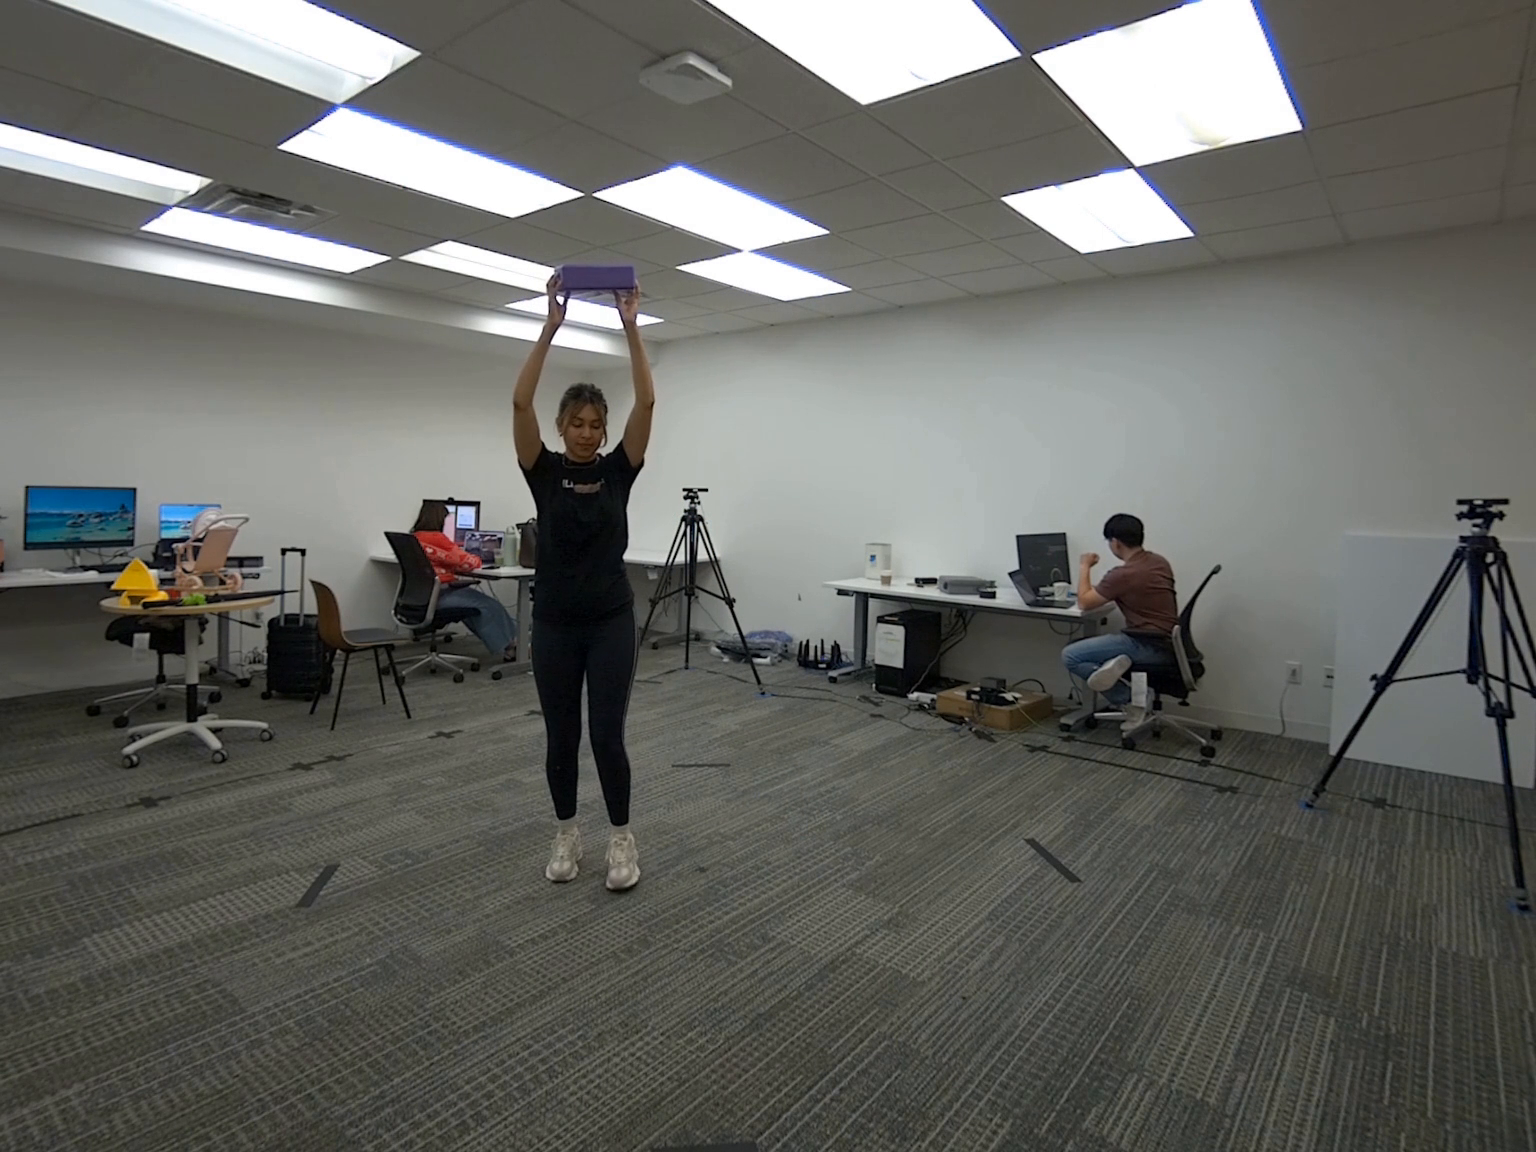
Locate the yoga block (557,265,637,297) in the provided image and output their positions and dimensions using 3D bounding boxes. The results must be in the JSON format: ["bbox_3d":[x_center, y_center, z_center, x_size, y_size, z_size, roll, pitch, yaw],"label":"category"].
[{"bbox_3d":[-0.553,-0.940,2.668,0.225,0.075,0.154,-7,16,-19],"label":"yoga block"}]
